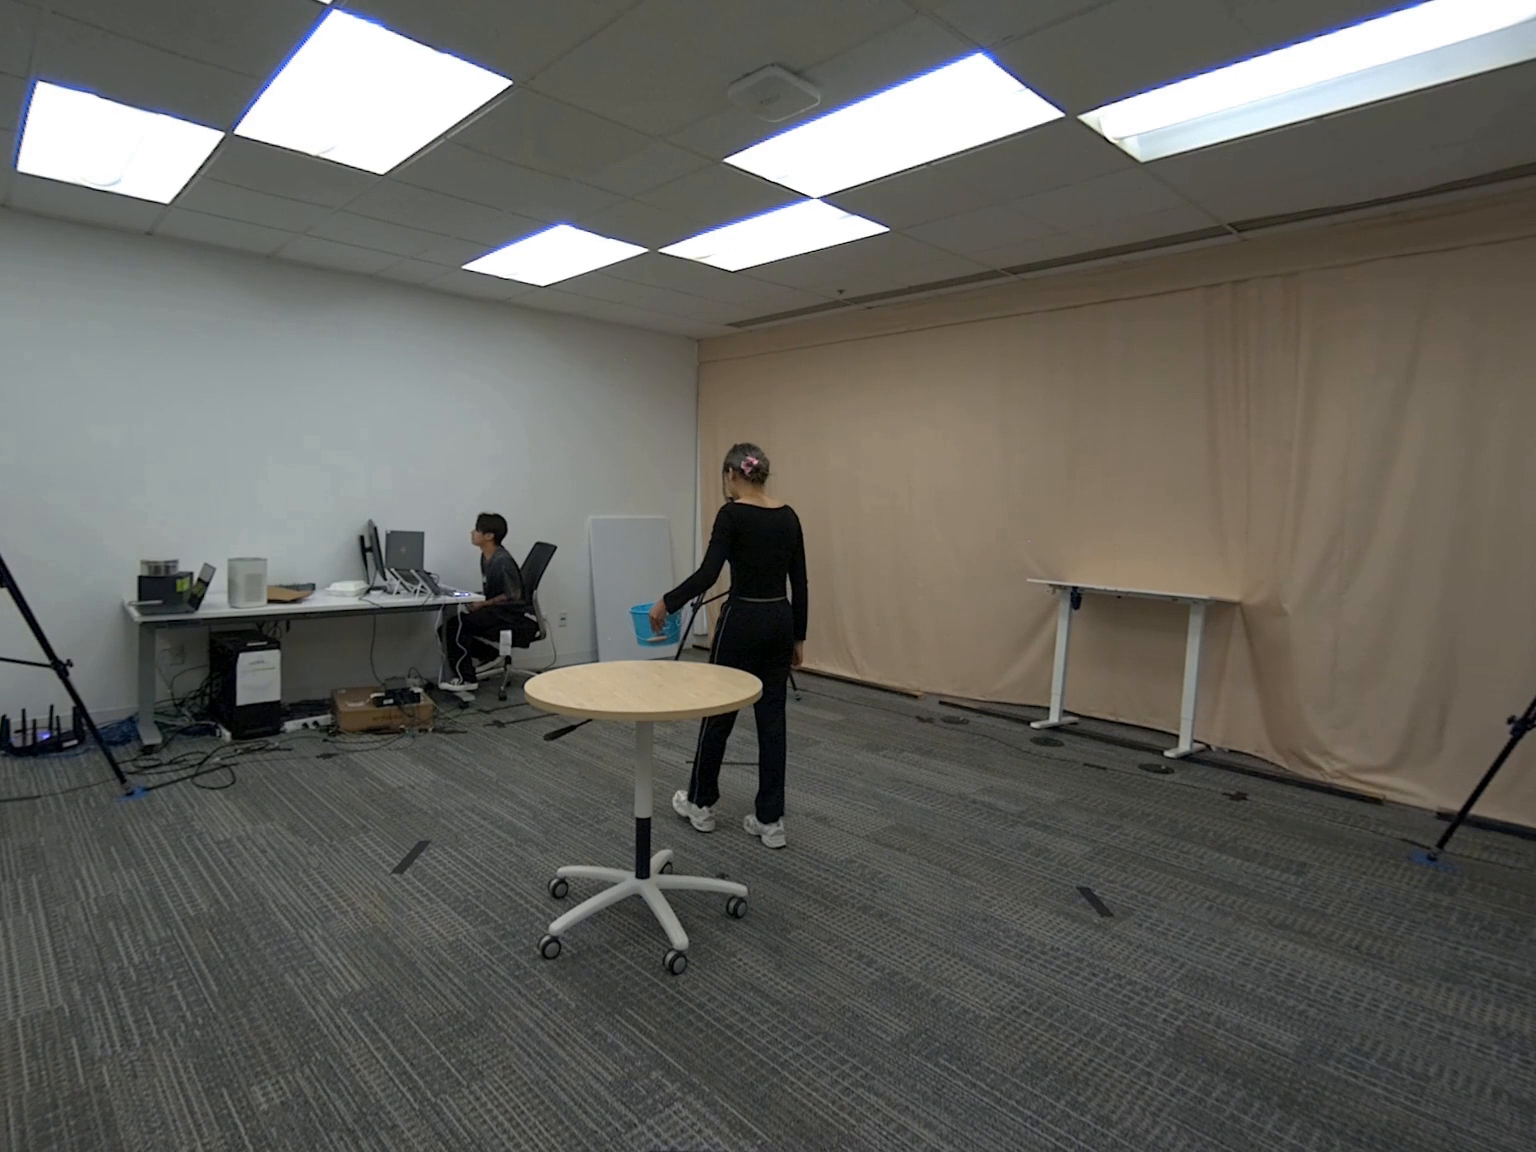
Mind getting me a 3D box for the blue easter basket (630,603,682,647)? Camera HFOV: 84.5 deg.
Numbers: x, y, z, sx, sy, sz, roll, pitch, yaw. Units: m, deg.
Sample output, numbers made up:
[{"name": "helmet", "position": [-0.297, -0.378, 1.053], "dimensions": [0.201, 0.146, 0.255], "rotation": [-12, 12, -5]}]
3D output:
[{"name": "blue easter basket", "position": [-0.474, 0.205, 3.573], "dimensions": [0.243, 0.155, 0.245], "rotation": [-4, 7, -1]}]
